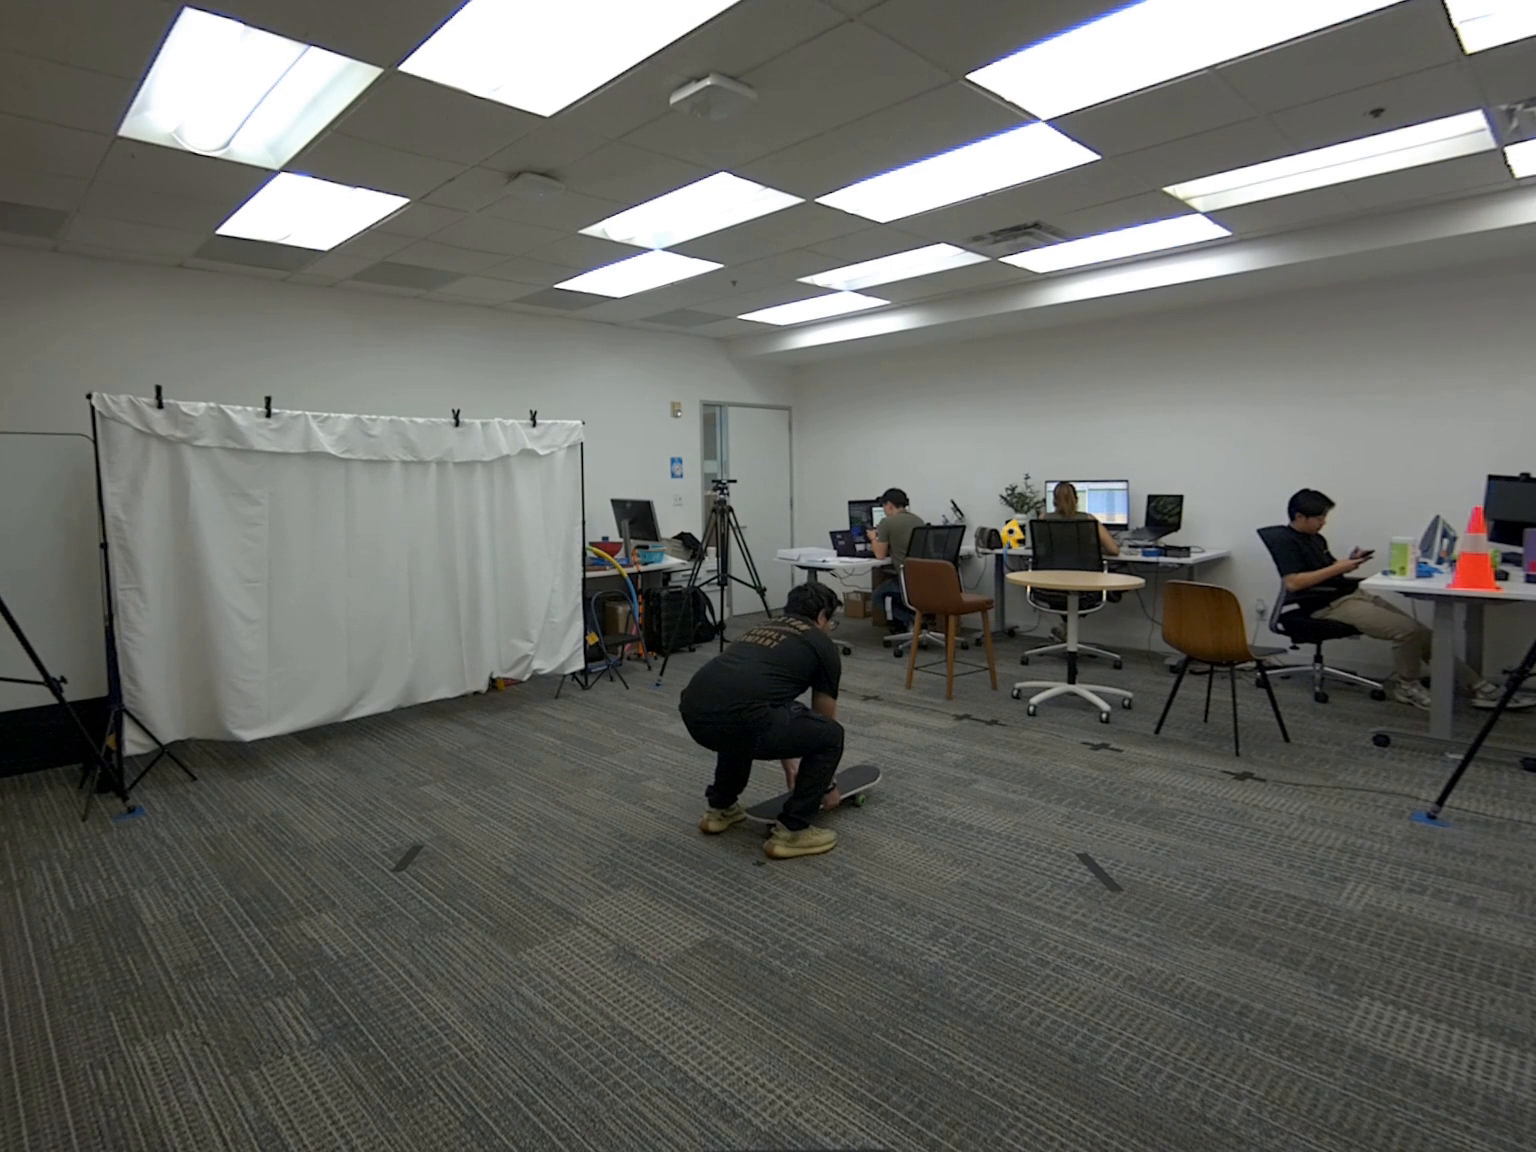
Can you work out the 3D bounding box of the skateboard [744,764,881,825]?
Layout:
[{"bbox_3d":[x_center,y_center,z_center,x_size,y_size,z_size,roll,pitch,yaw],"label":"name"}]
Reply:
[{"bbox_3d":[0.205,0.935,3.557,0.199,0.110,0.765,5,9,44],"label":"skateboard"}]
